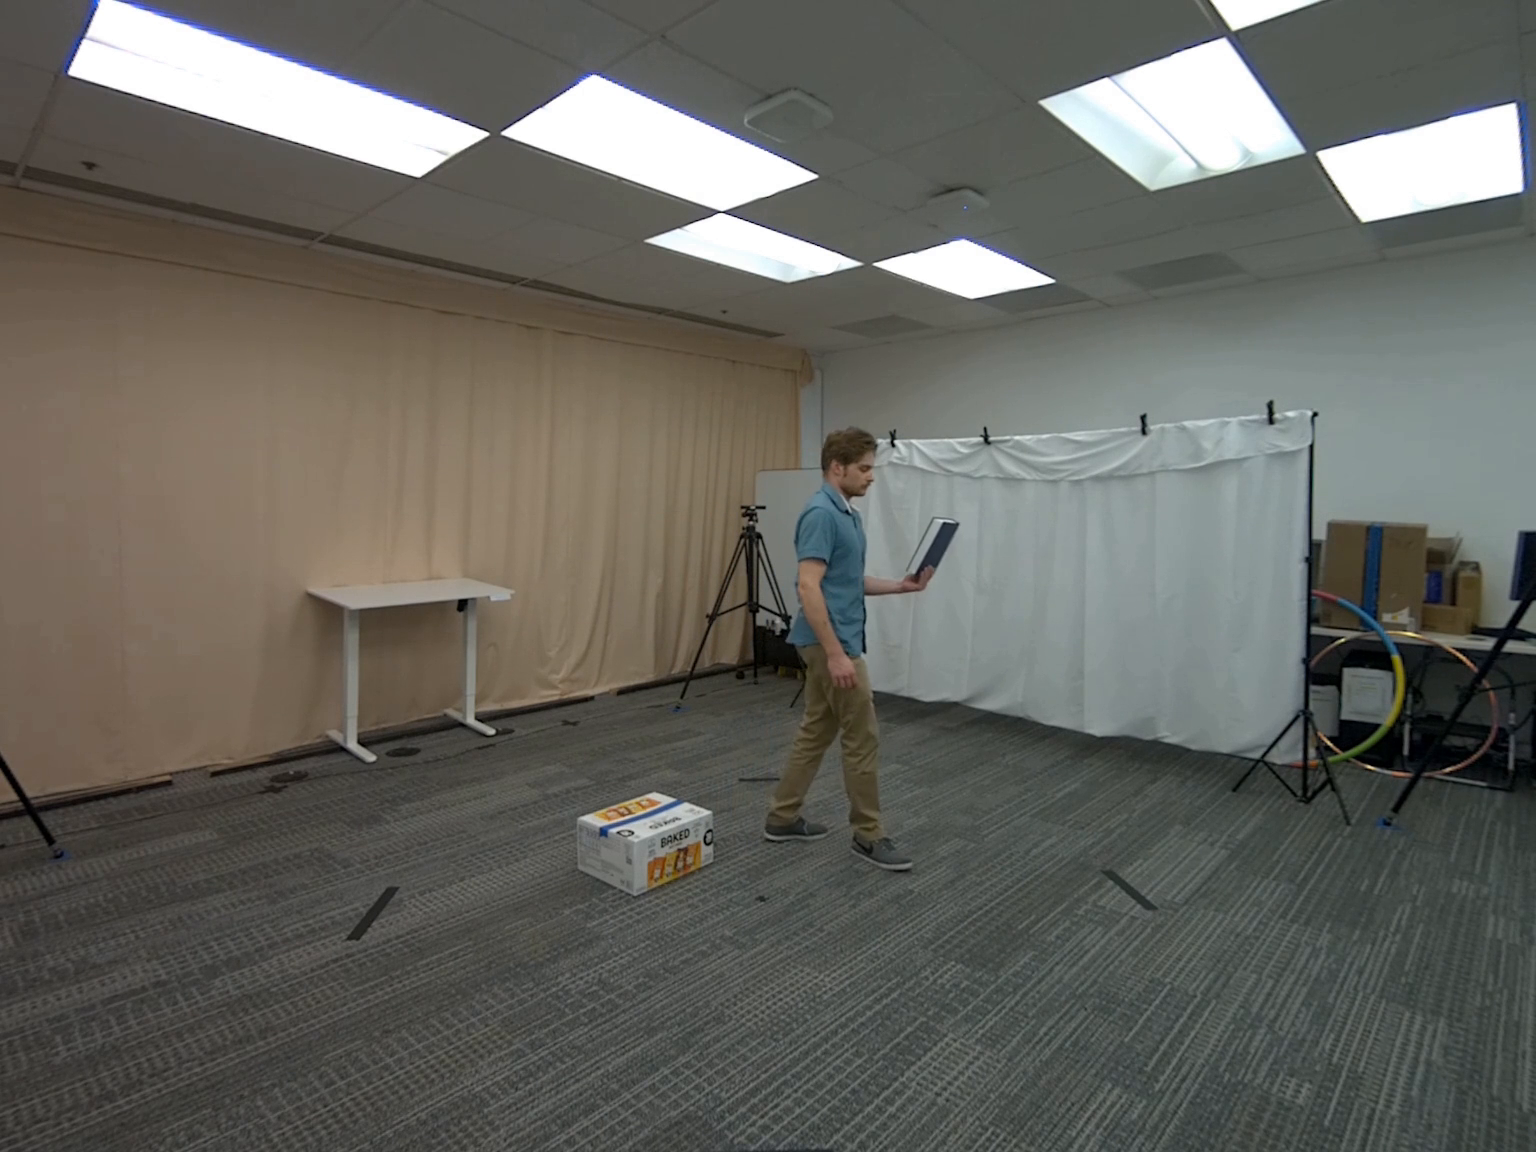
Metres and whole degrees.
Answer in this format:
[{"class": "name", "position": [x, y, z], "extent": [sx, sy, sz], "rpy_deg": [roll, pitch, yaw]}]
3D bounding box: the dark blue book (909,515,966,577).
[{"class": "dark blue book", "position": [0.672, -0.118, 3.371], "extent": [0.047, 0.244, 0.158], "rpy_deg": [36, 21, 35]}]
